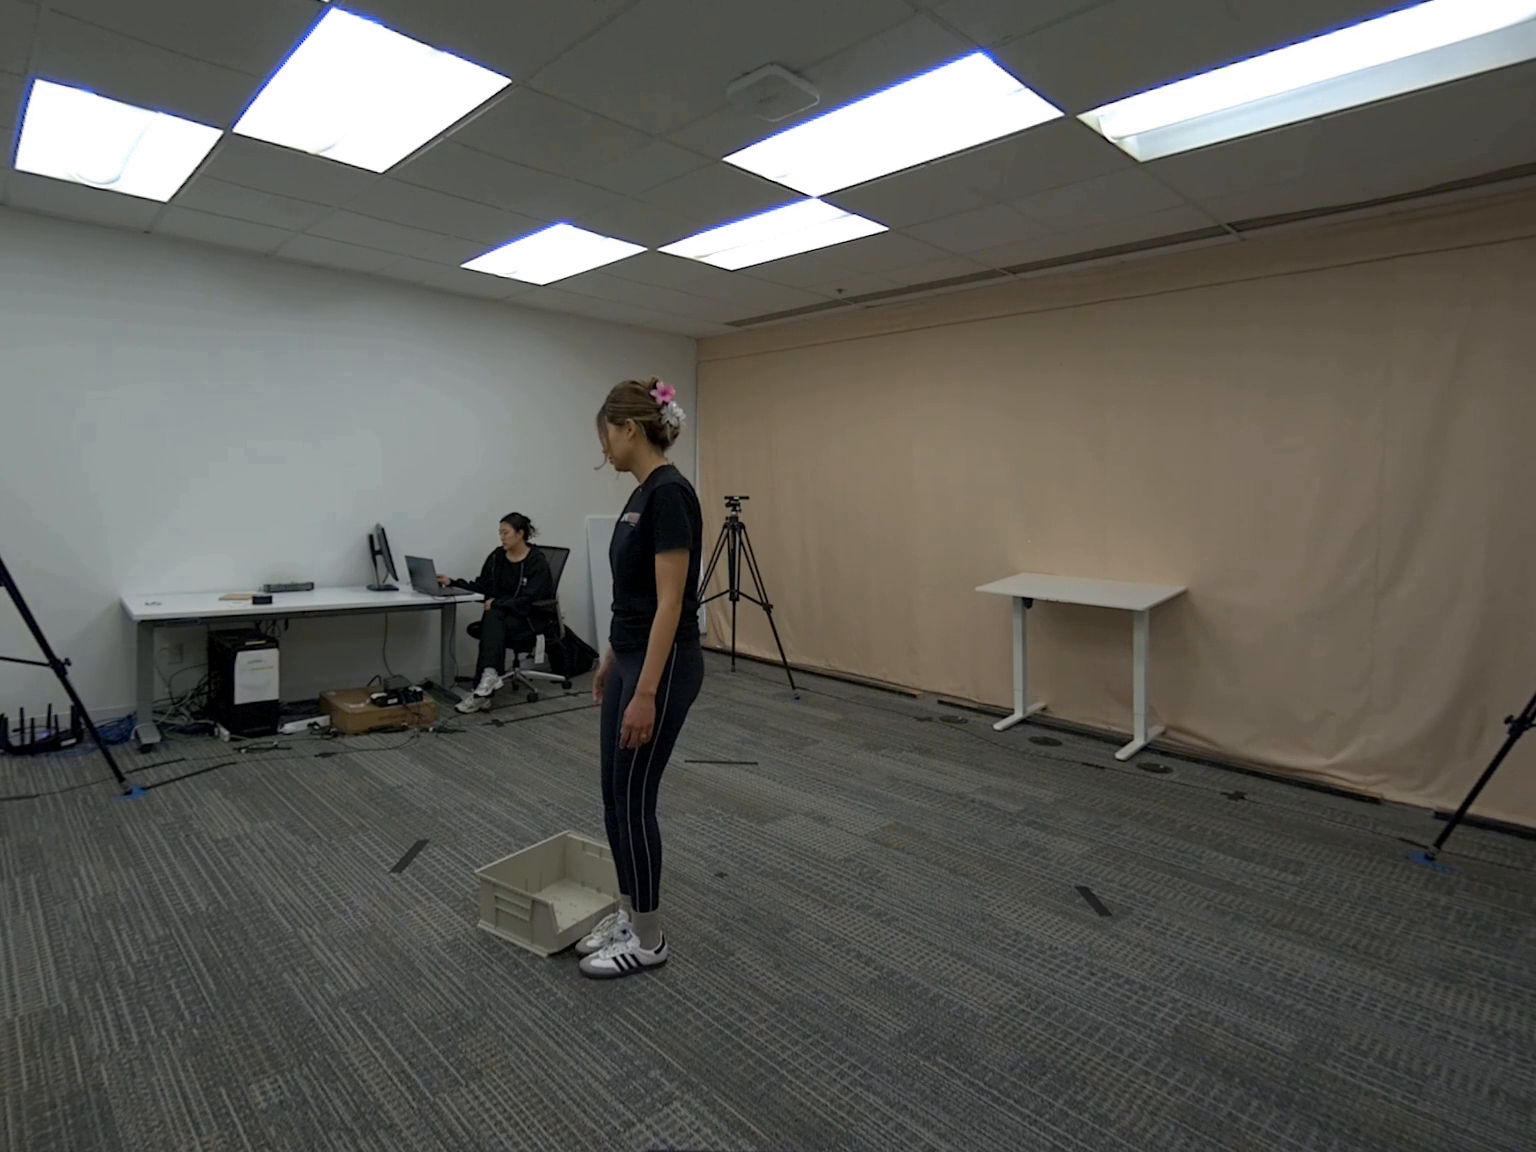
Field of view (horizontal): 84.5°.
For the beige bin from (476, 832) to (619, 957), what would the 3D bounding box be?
[{"bbox_3d":[-0.682,1.037,2.760,0.386,0.188,0.414,3,6,32],"label":"beige bin"}]
